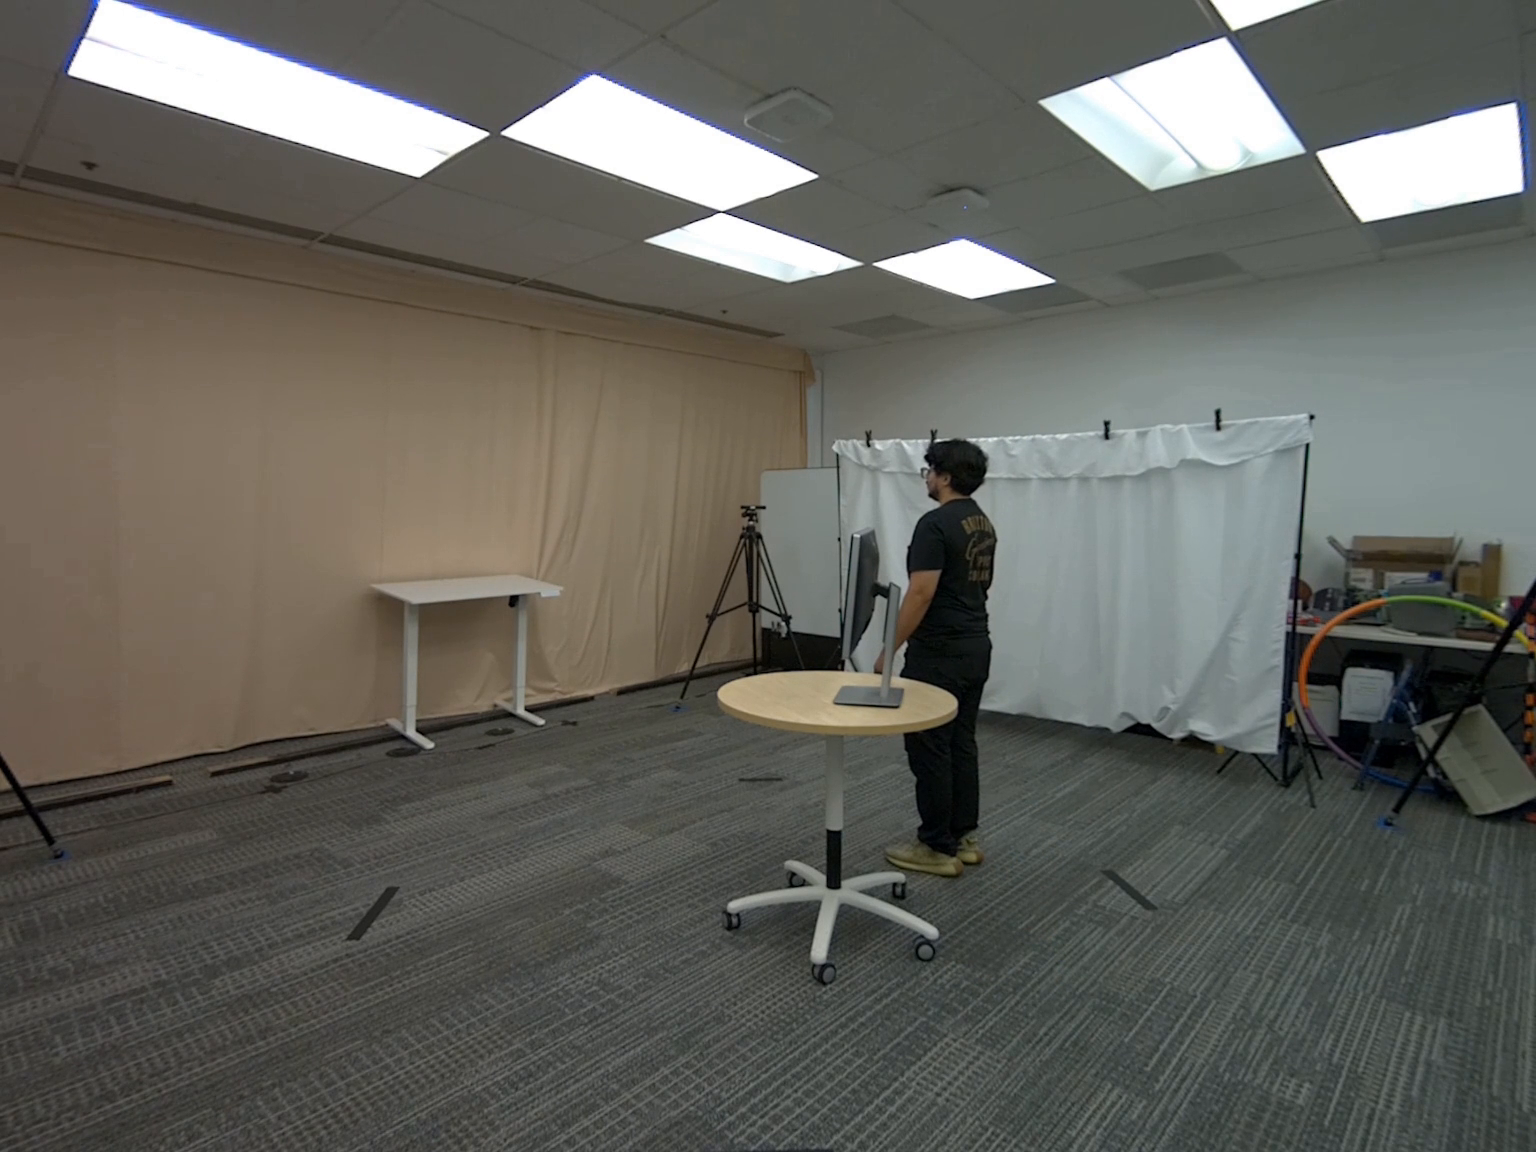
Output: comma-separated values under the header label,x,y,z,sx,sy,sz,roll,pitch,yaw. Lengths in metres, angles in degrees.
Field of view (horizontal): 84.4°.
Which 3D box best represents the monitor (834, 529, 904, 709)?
label,x,y,z,sx,sy,sz,roll,pitch,yaw
monitor,0.356,0.130,2.663,0.213,0.552,0.558,4,5,11
